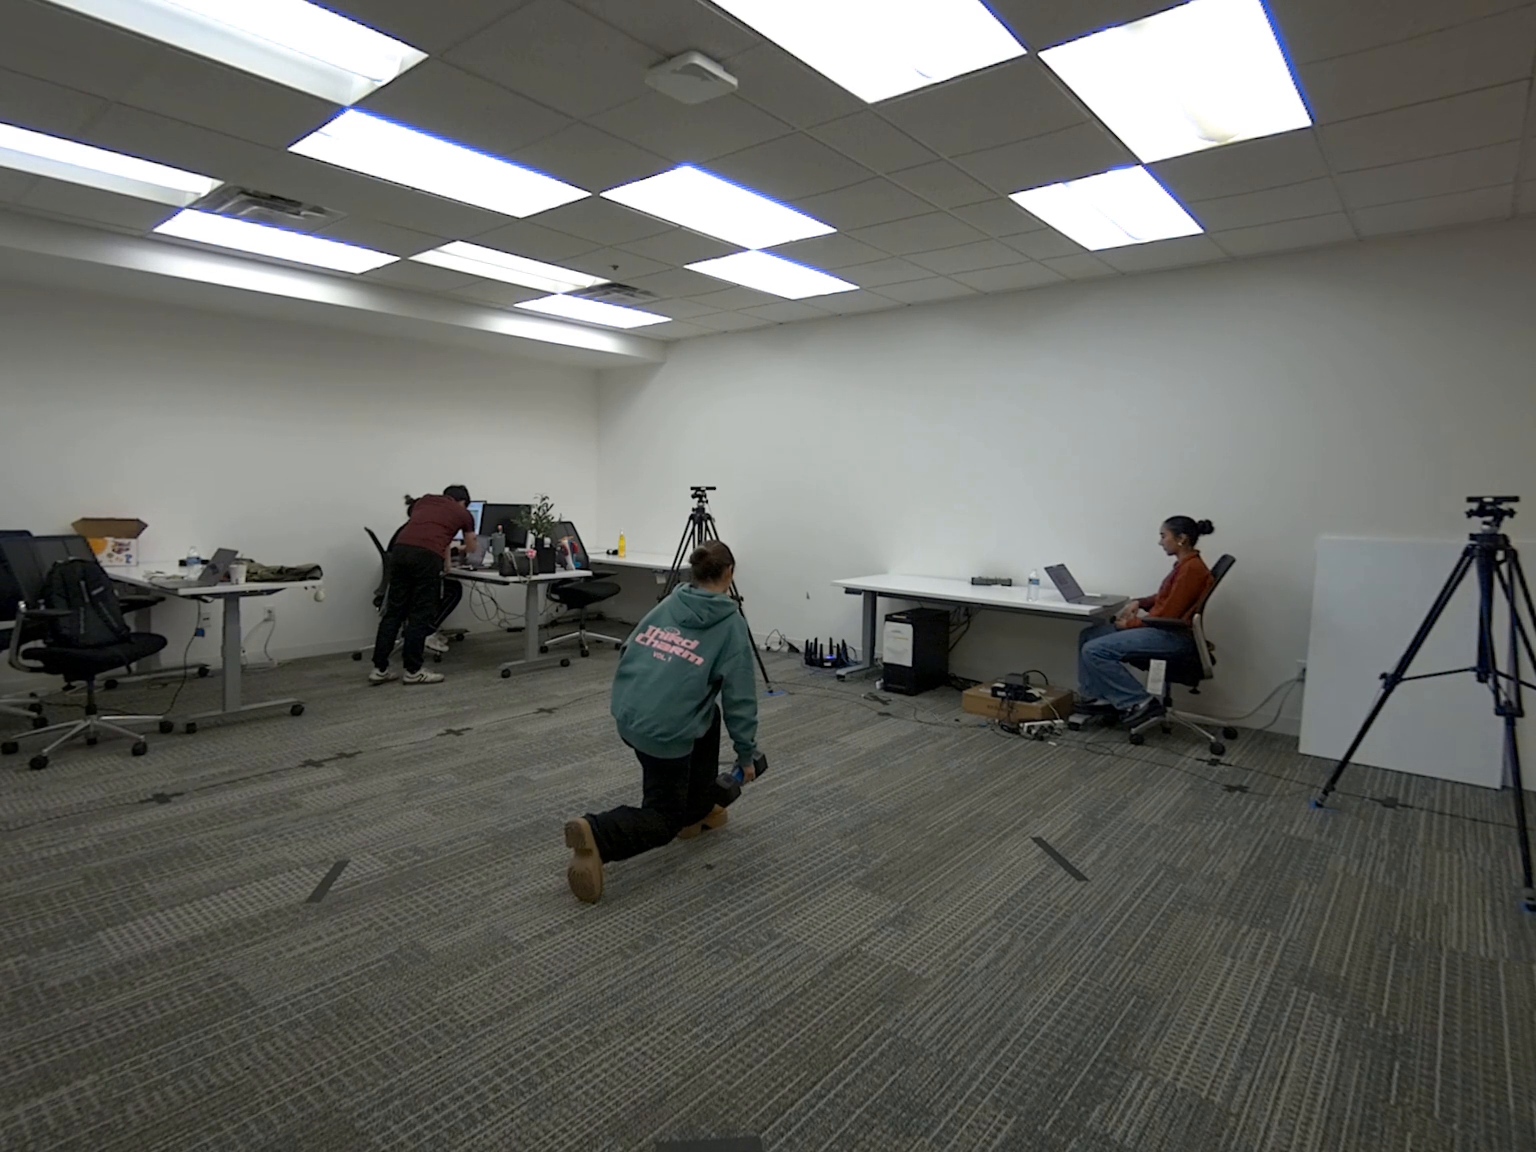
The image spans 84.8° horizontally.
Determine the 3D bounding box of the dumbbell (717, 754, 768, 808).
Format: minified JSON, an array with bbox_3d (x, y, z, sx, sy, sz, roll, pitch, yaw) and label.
[{"bbox_3d":[-0.123,0.775,3.296,0.123,0.110,0.289,-45,-8,34],"label":"dumbbell"}]
